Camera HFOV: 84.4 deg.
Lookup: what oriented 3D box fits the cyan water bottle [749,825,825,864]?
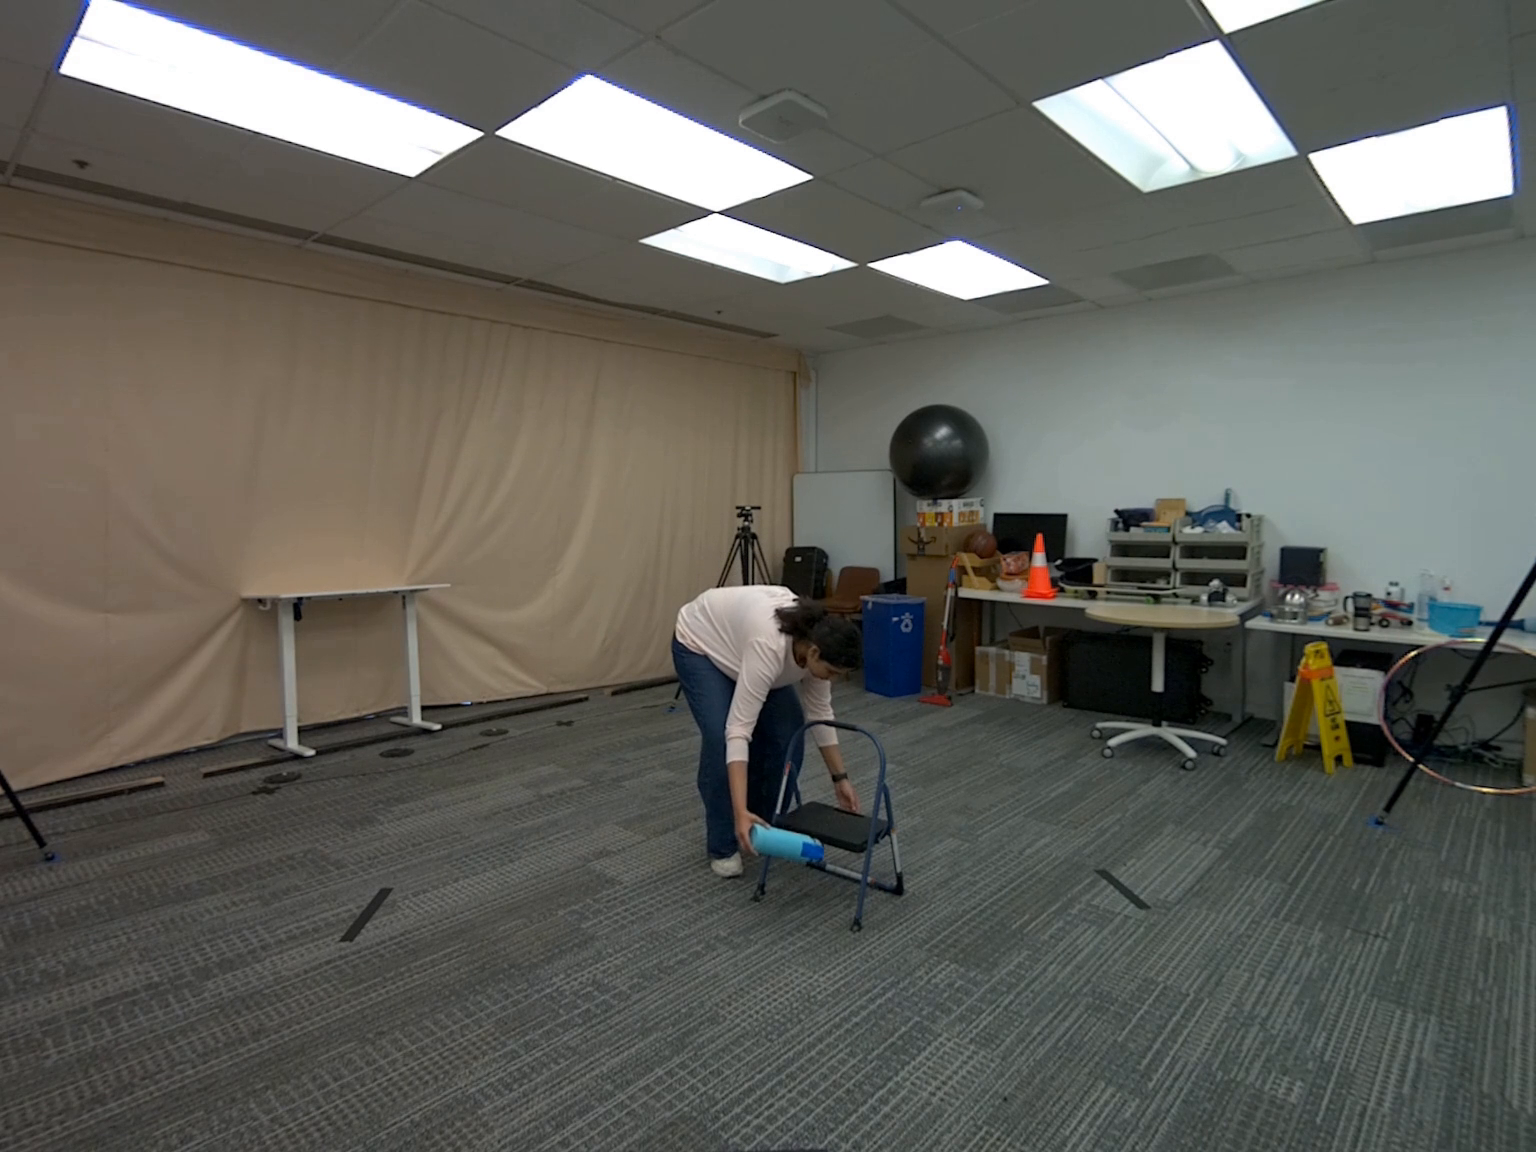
[{"bbox_3d":[0.074,0.894,2.838,0.277,0.092,0.094,21,-4,-21],"label":"cyan water bottle"}]
